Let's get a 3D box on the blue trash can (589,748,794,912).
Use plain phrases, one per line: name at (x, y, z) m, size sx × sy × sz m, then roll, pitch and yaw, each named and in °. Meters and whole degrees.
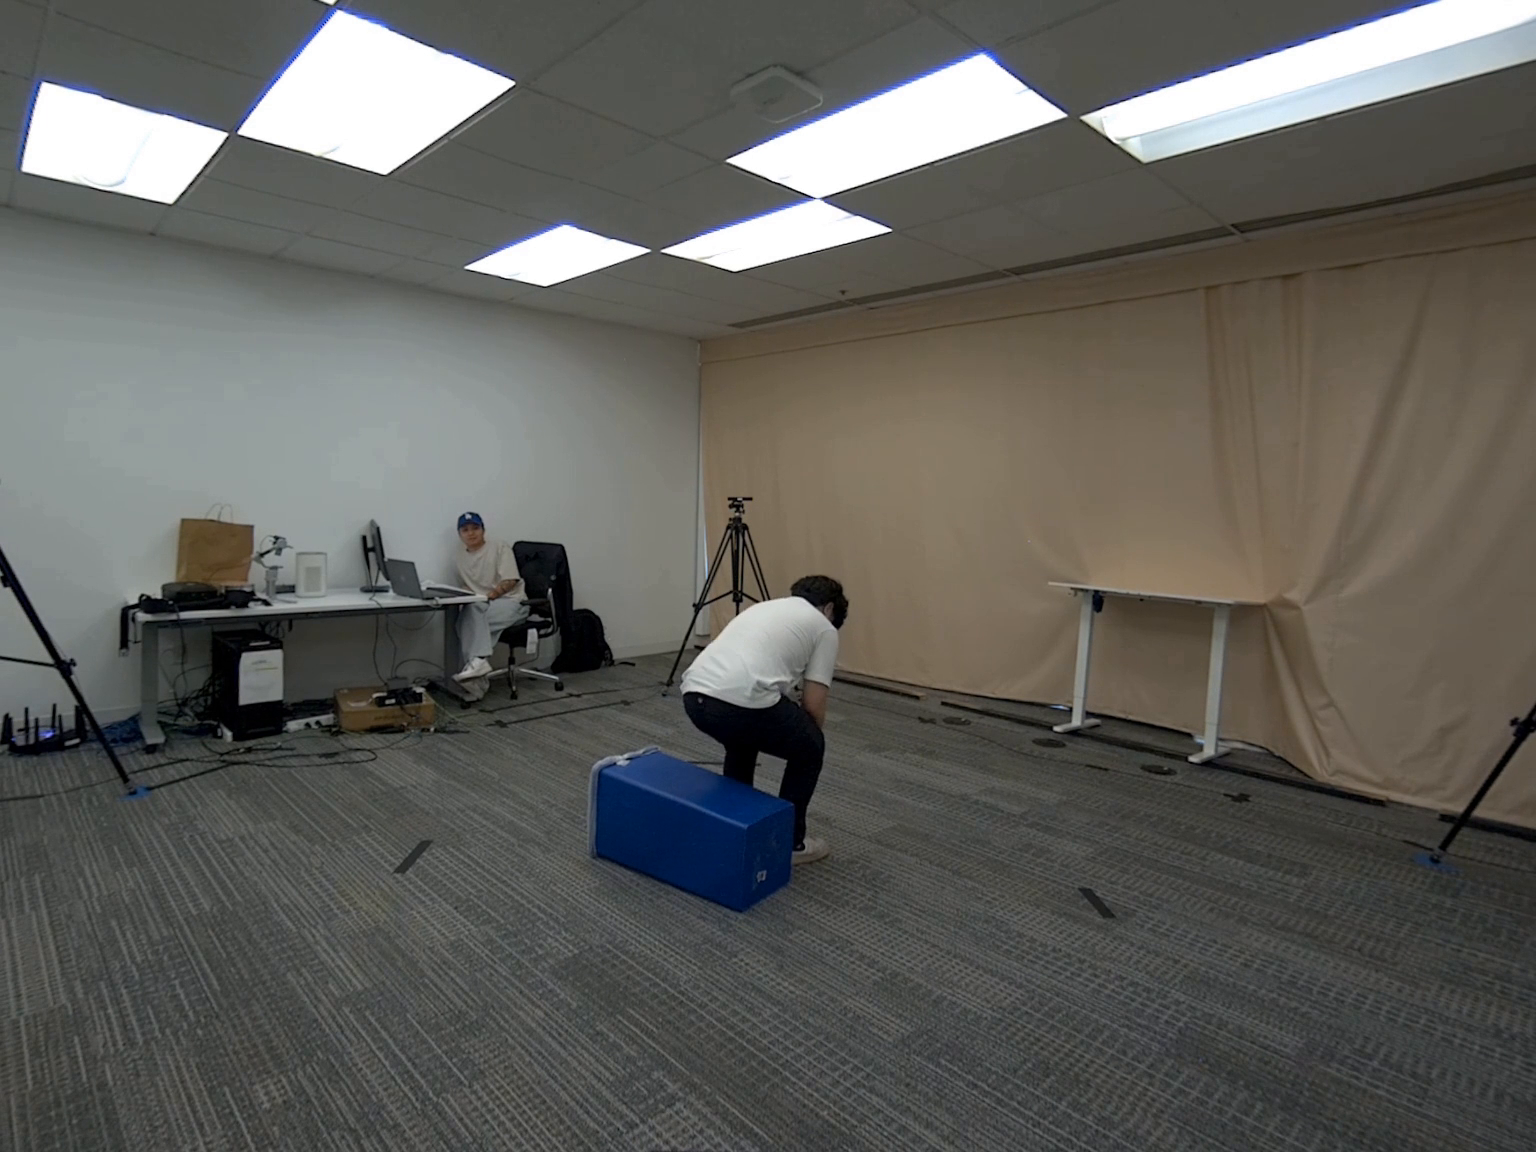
blue trash can at (-0.296, 0.938, 3.138) m, size 0.732 × 0.373 × 0.370 m, roll 9°, pitch 7°, yaw 37°
